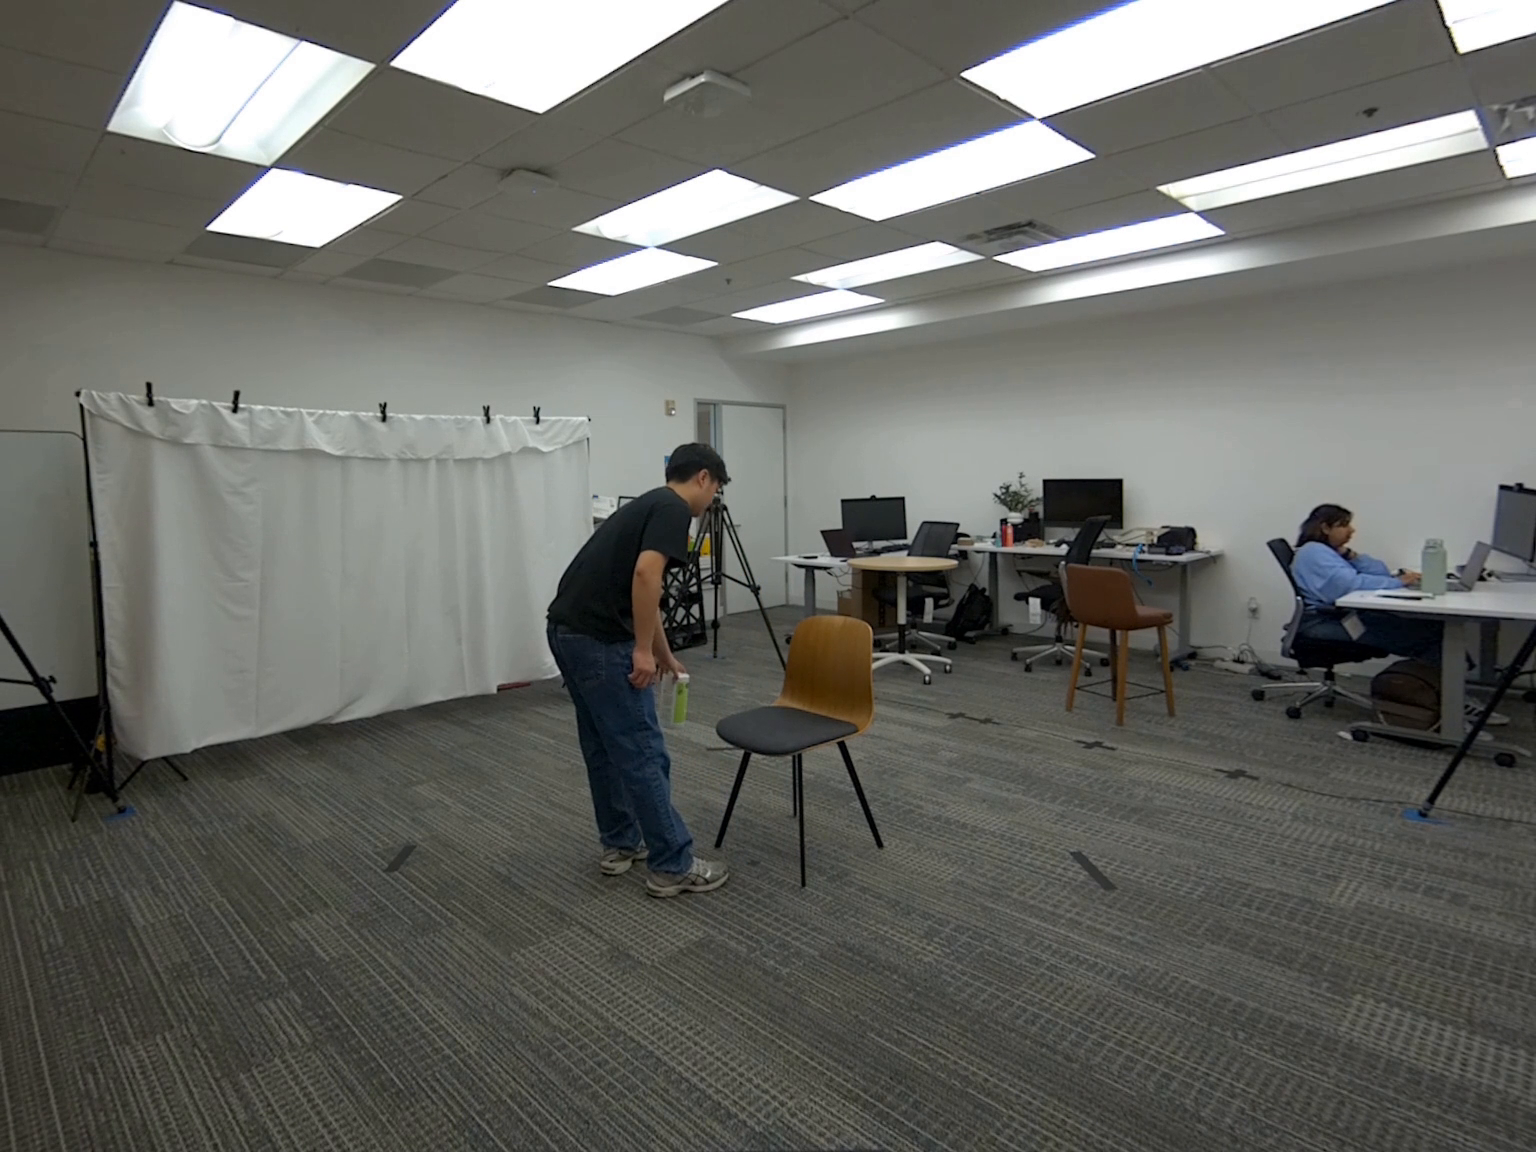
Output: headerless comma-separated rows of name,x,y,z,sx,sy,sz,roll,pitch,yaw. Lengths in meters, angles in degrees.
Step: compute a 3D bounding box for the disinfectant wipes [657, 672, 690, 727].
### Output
disinfectant wipes,-0.372,0.501,3.483,0.118,0.217,0.118,1,3,-2
